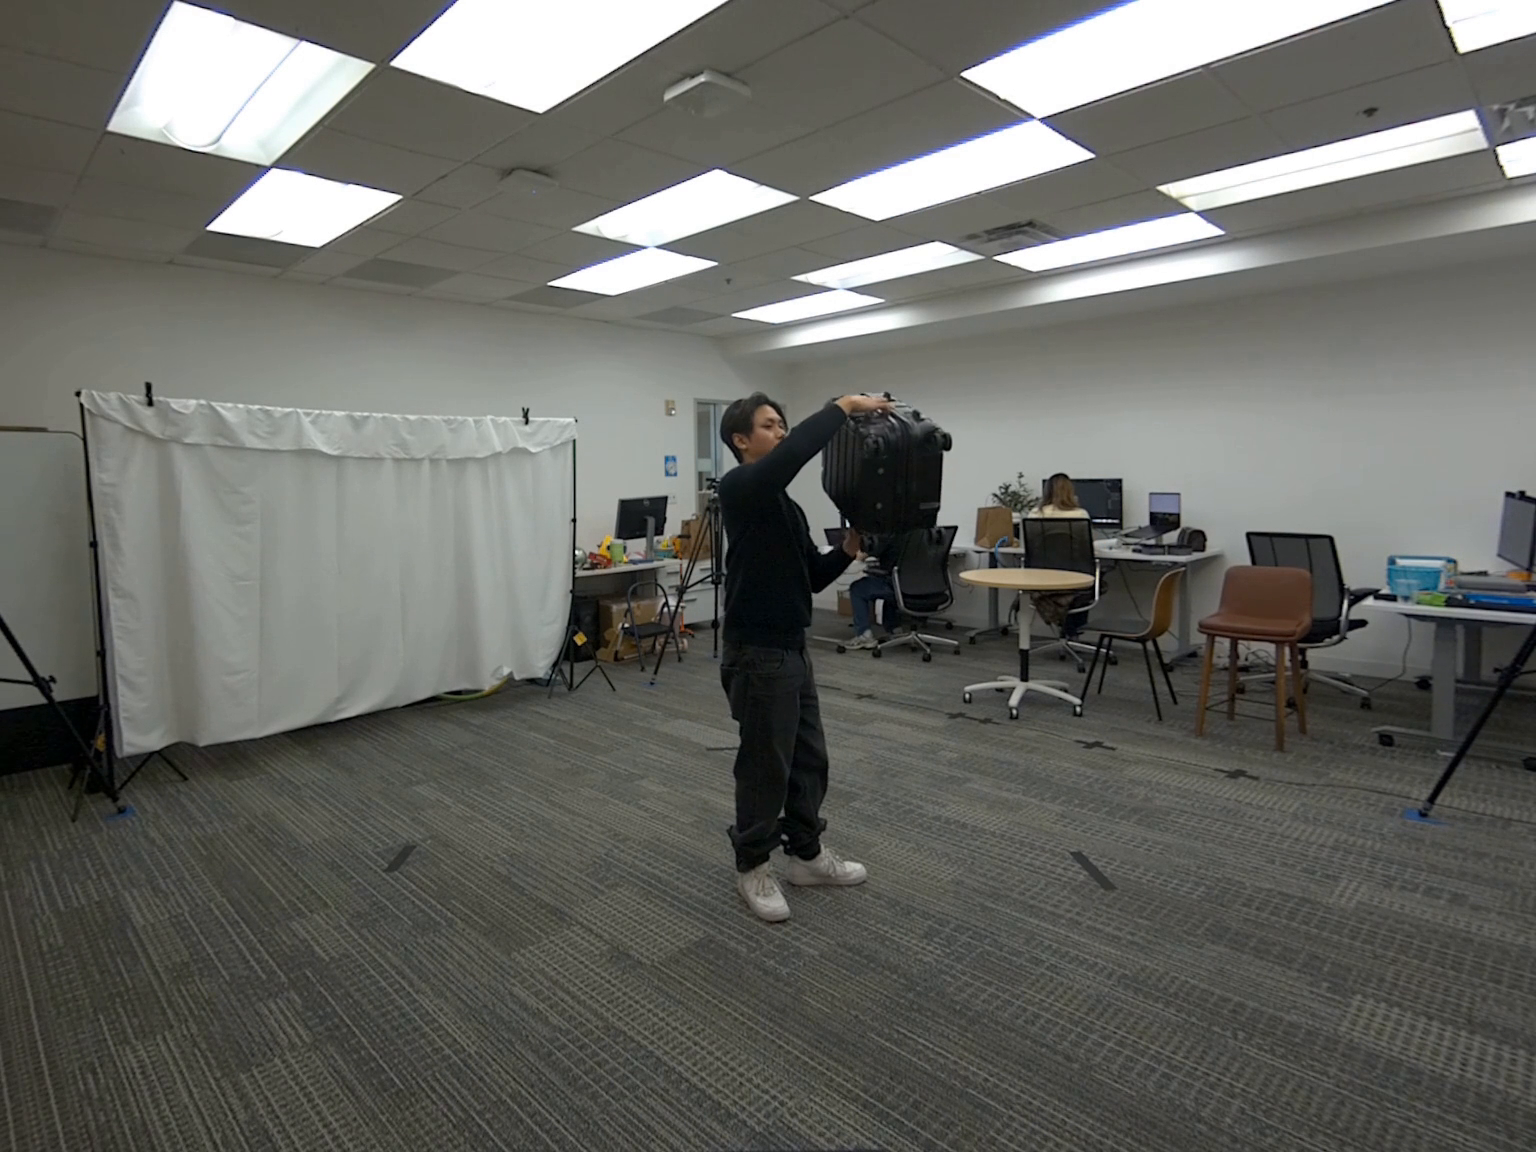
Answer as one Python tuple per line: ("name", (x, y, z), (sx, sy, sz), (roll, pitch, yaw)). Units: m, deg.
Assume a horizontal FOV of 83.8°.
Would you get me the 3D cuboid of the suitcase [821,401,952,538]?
("suitcase", (0.346, -0.357, 2.698), (0.246, 0.368, 0.564), (-5, 24, -9))
